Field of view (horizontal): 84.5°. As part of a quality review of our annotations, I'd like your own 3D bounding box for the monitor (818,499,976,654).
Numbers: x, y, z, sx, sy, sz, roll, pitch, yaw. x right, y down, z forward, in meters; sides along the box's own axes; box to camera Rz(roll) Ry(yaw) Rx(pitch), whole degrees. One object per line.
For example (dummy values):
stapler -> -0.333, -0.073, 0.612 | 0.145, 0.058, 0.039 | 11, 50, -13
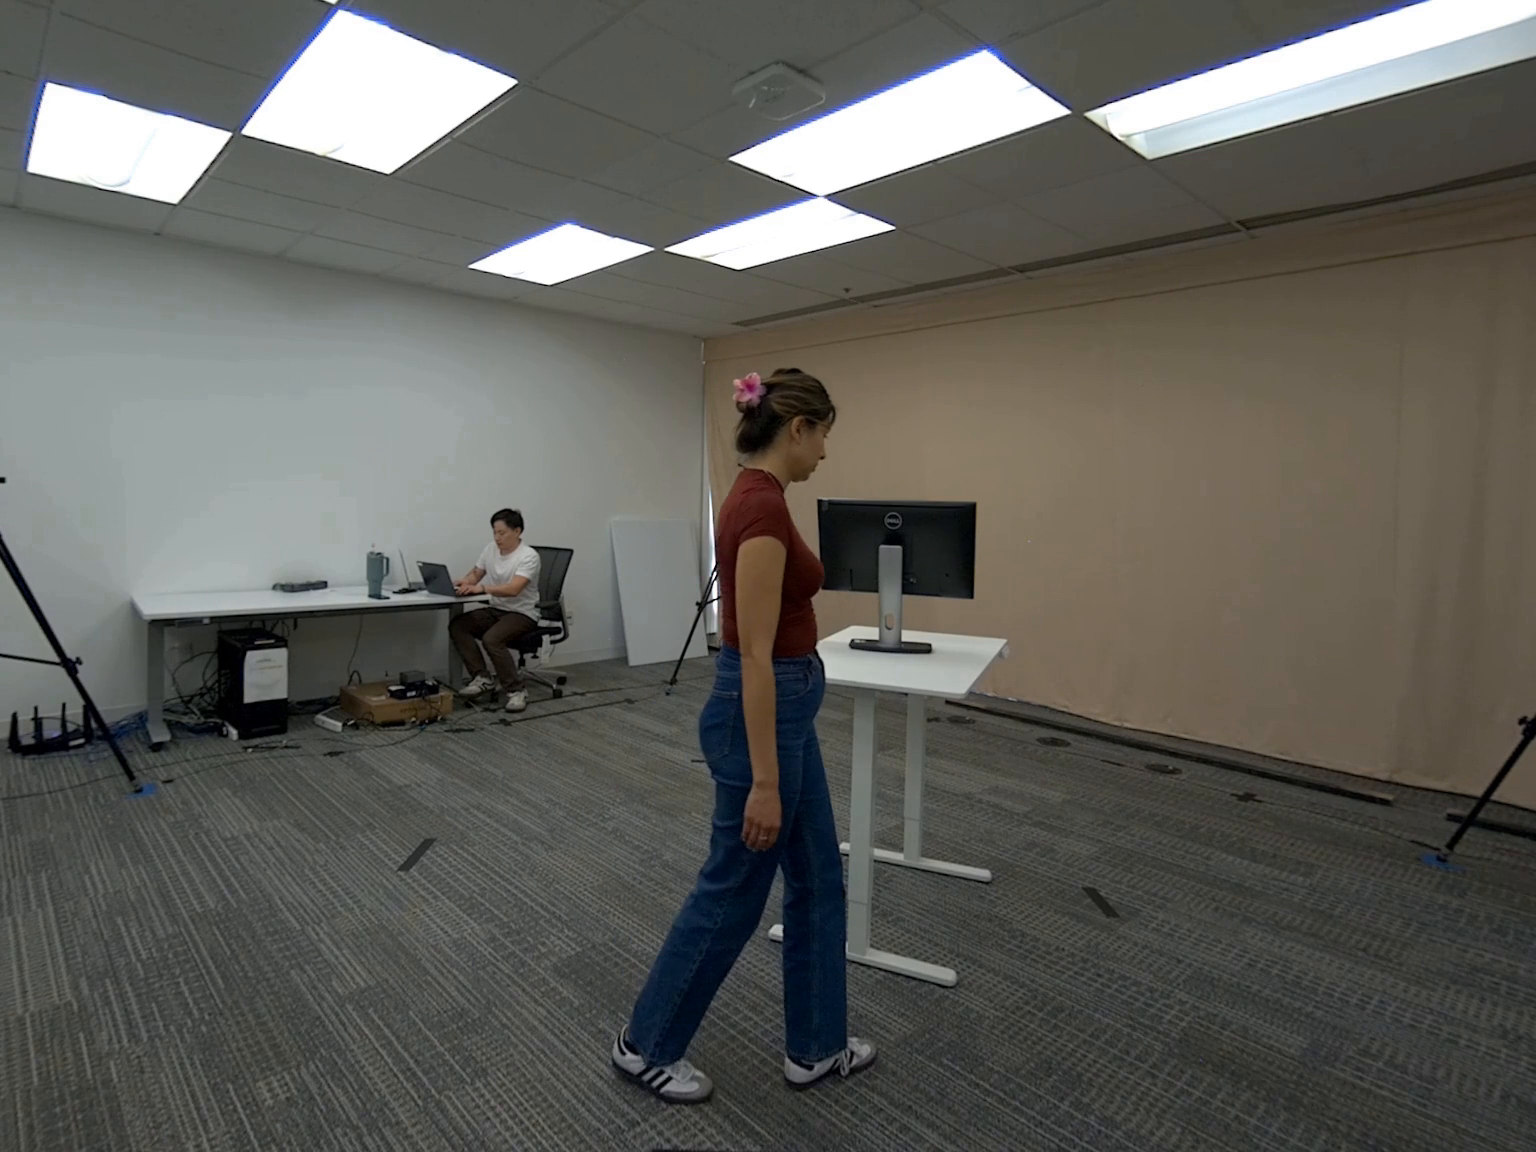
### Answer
monitor -> 0.424, 0.002, 2.889 | 0.546, 0.520, 0.185 | 3, 6, 15
